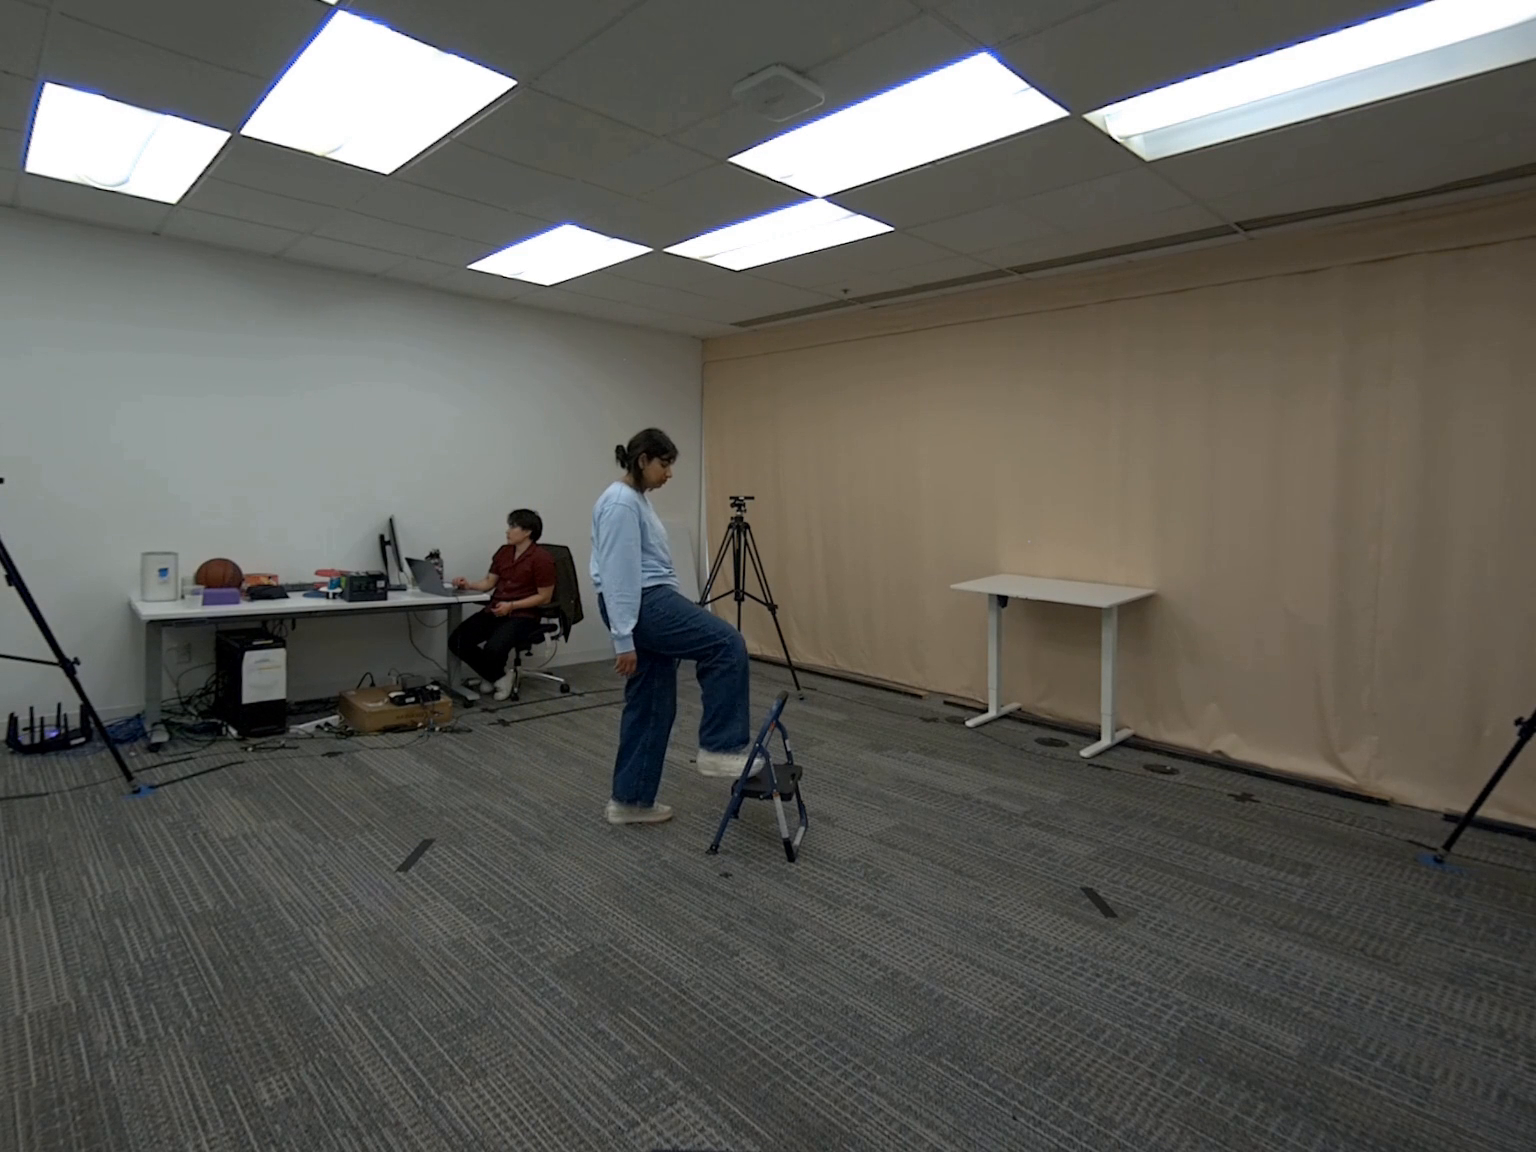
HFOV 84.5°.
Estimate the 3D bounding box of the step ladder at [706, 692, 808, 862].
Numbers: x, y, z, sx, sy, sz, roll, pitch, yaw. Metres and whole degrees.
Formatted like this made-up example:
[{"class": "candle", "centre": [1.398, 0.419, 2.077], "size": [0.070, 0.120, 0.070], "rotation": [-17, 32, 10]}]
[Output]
[{"class": "step ladder", "centre": [-0.029, 0.776, 3.437], "size": [0.352, 0.604, 0.427], "rotation": [2, 4, 11]}]
